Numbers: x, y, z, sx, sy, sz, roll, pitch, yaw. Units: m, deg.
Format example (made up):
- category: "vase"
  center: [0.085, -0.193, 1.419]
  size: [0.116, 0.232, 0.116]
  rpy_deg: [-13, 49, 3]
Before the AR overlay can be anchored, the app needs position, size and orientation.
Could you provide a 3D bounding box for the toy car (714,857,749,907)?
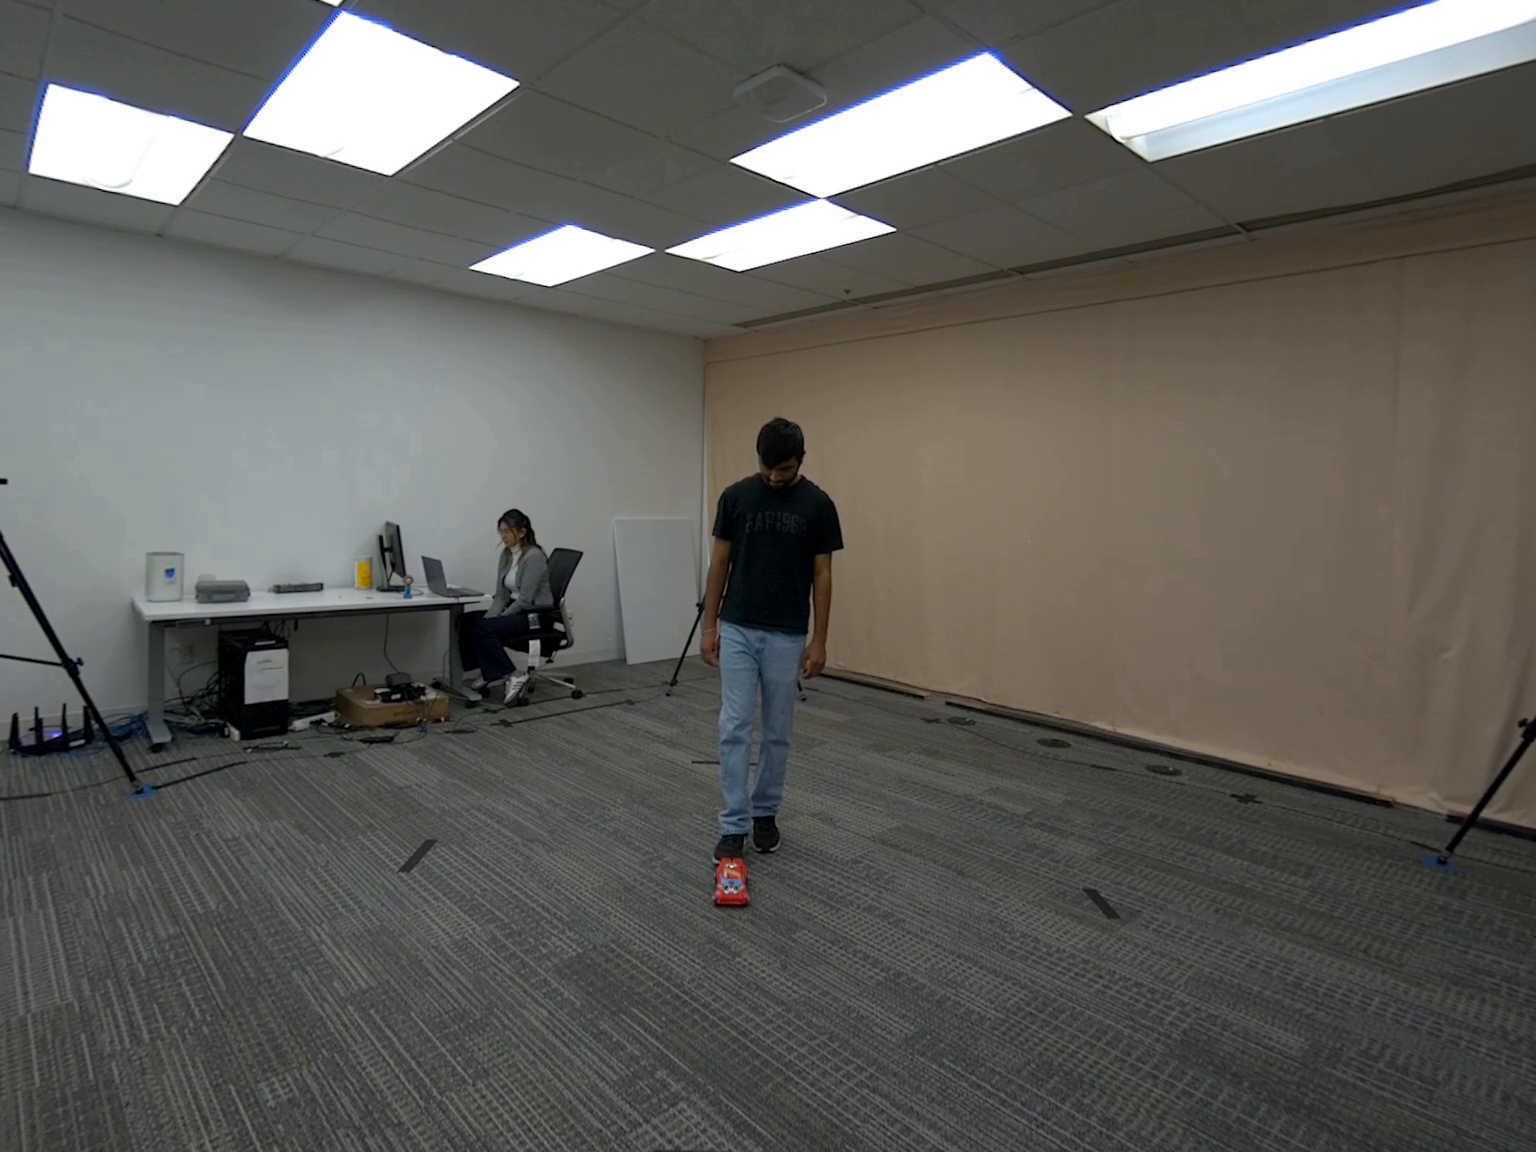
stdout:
- category: "toy car"
  center: [-0.143, 1.084, 2.973]
  size: [0.130, 0.082, 0.258]
  rpy_deg: [0, 20, 0]
